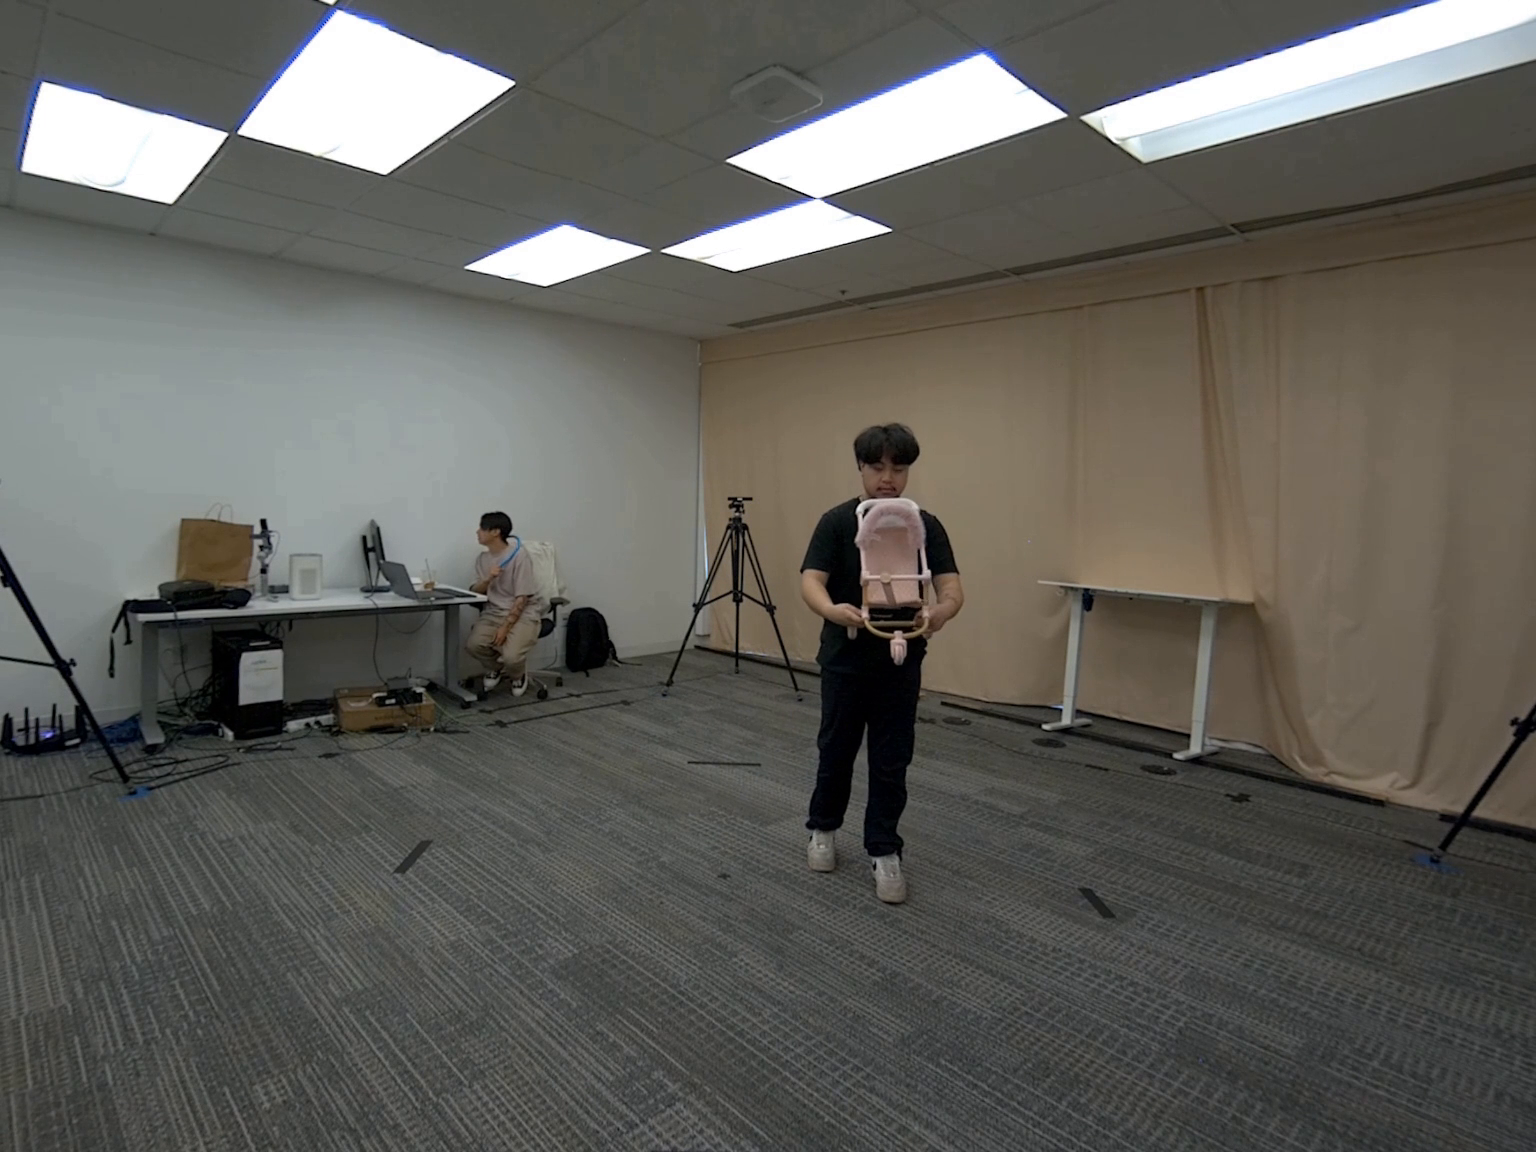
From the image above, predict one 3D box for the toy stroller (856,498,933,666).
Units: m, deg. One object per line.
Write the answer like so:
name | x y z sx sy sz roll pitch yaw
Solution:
toy stroller | 0.385 0.003 2.673 0.283 0.536 0.339 0 -2 7
